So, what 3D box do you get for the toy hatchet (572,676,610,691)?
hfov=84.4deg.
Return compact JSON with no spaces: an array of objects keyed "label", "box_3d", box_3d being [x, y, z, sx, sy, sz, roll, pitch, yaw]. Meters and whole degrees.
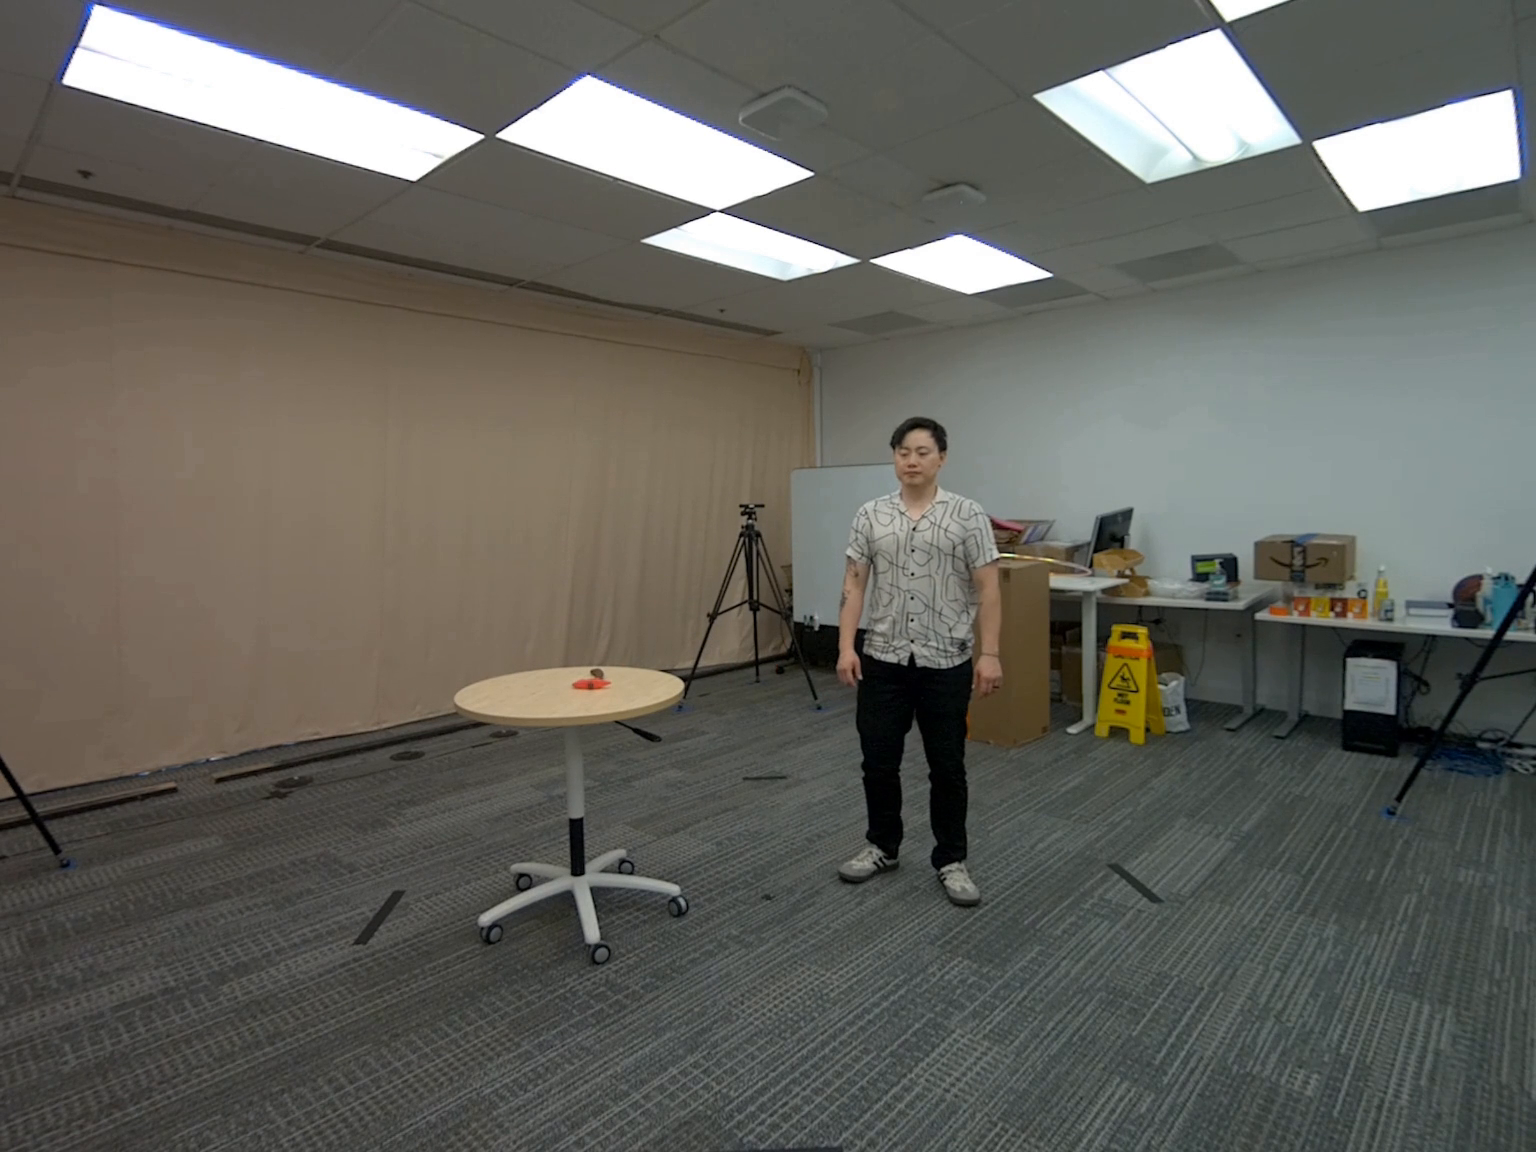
[{"label":"toy hatchet","box_3d":[-0.630,0.361,2.957,0.129,0.029,0.275,-8,5,-17]}]
